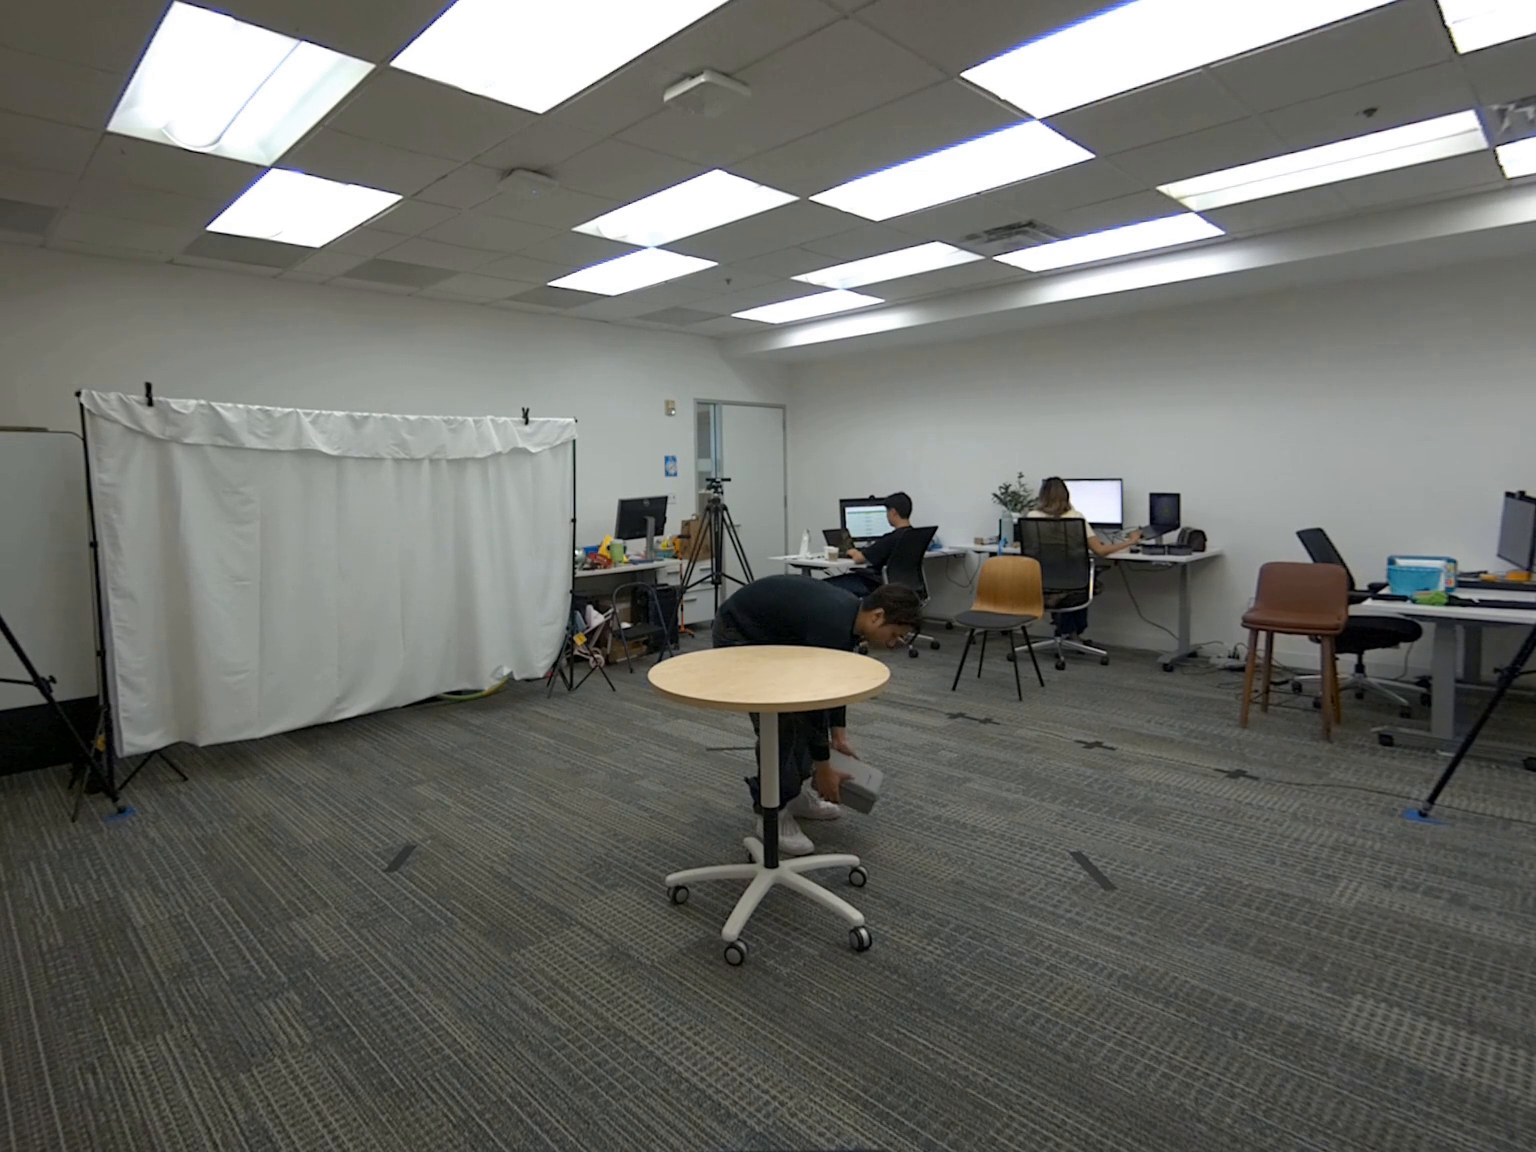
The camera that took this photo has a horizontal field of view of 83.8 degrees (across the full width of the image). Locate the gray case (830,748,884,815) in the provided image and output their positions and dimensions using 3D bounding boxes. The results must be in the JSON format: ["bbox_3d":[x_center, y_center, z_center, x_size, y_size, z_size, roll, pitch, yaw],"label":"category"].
[{"bbox_3d":[0.309,0.784,3.332,0.265,0.104,0.254,21,10,14],"label":"gray case"}]
